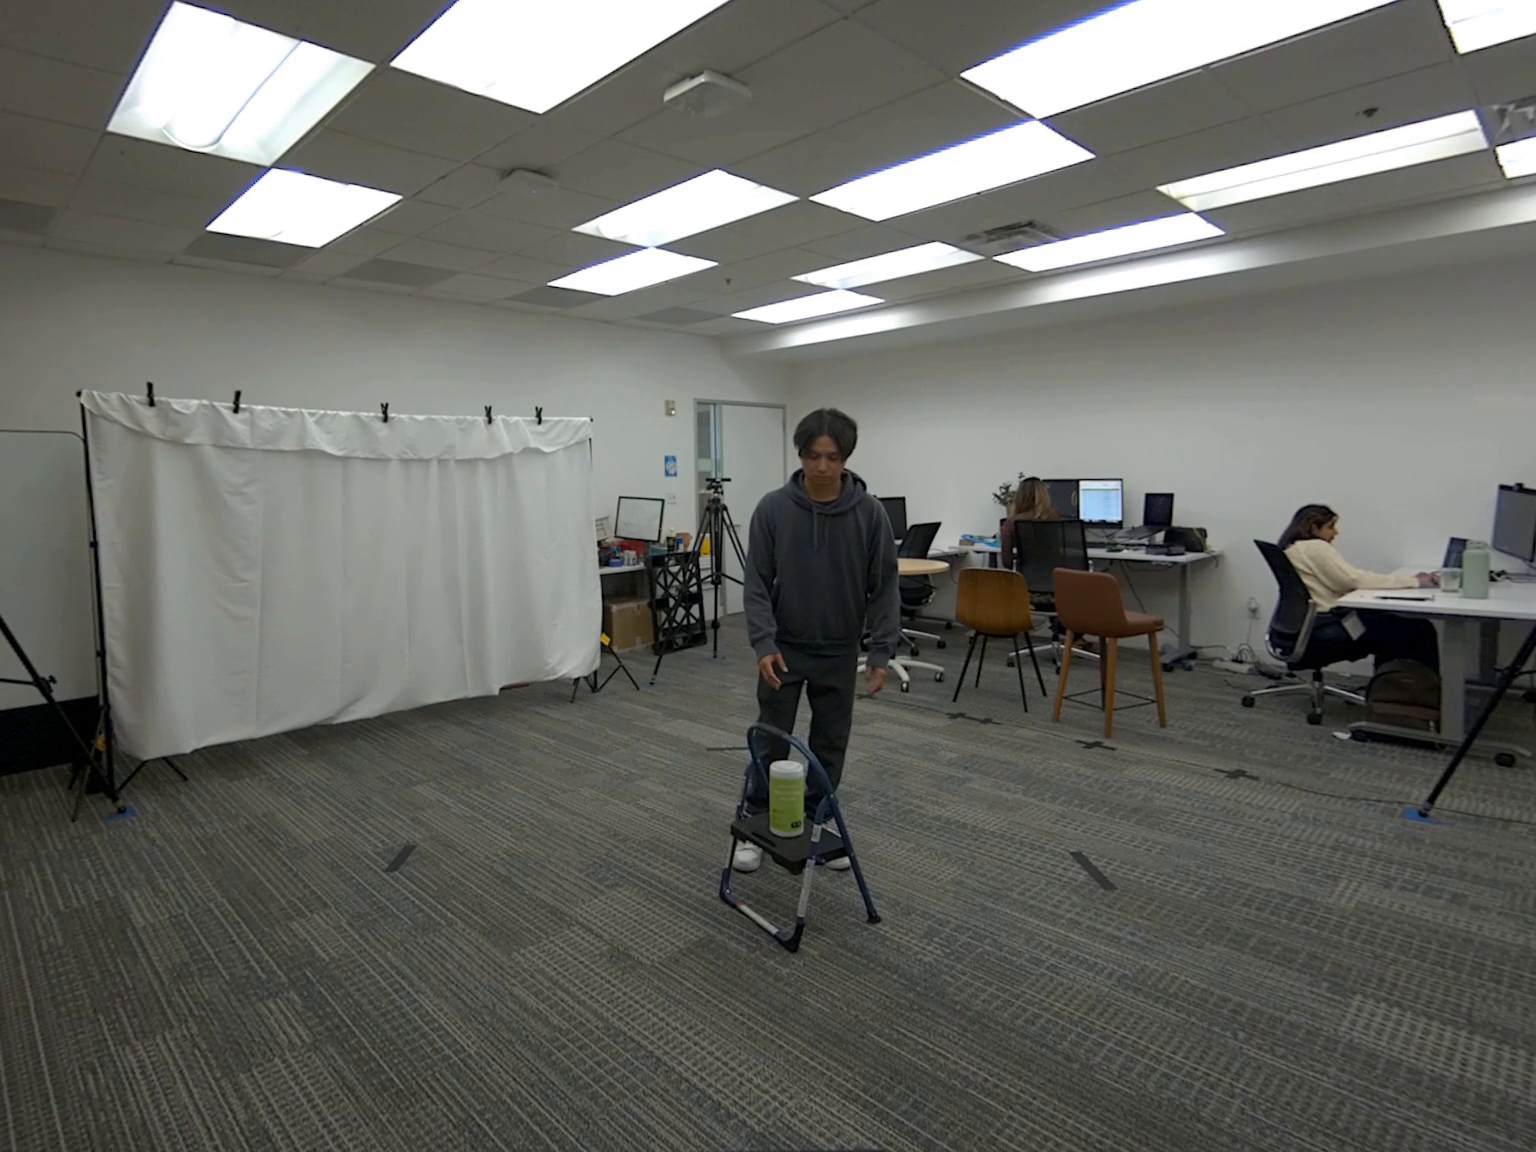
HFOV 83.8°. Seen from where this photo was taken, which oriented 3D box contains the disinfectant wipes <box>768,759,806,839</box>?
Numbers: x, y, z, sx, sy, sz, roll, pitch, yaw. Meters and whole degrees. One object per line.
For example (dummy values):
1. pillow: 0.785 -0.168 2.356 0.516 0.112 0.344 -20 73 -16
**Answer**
1. disinfectant wipes: 0.063 0.718 2.737 0.118 0.216 0.118 -2 5 -2
